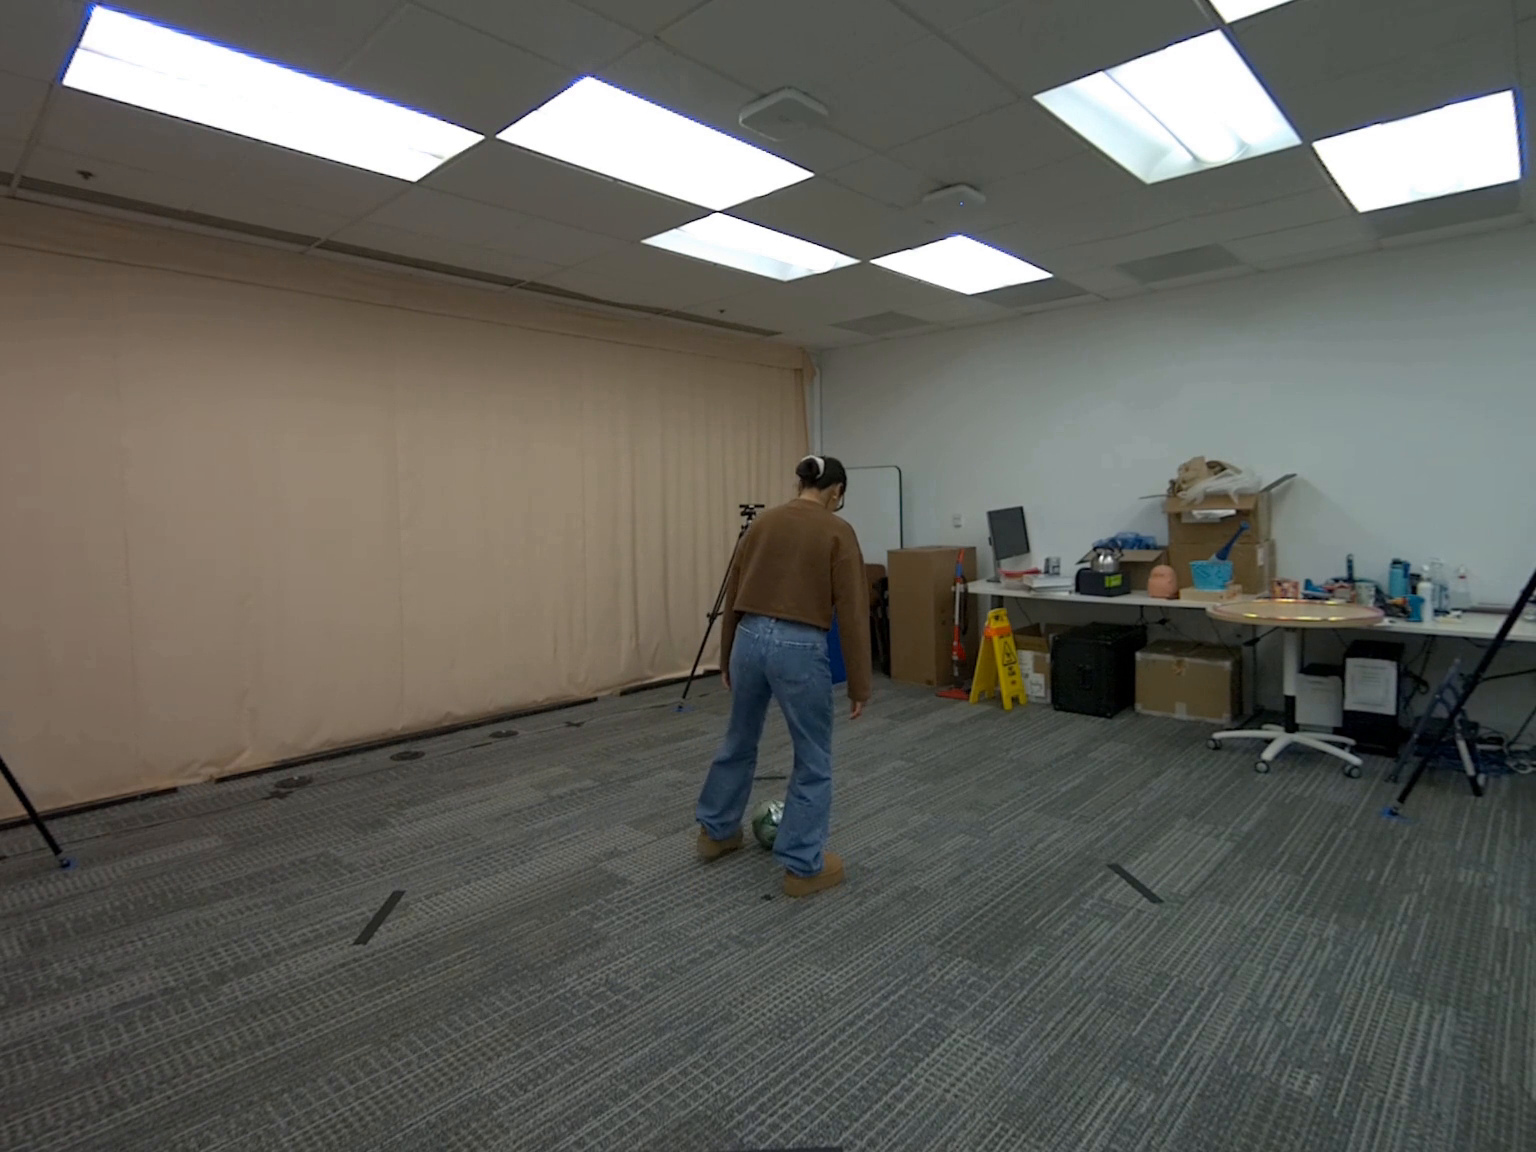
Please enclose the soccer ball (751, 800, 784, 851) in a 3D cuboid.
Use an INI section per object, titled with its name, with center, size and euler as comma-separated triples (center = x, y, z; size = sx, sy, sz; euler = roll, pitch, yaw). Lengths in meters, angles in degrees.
[soccer ball]
center = 0.029, 1.007, 3.416
size = 0.187, 0.187, 0.188
euler = -1, 4, -2
